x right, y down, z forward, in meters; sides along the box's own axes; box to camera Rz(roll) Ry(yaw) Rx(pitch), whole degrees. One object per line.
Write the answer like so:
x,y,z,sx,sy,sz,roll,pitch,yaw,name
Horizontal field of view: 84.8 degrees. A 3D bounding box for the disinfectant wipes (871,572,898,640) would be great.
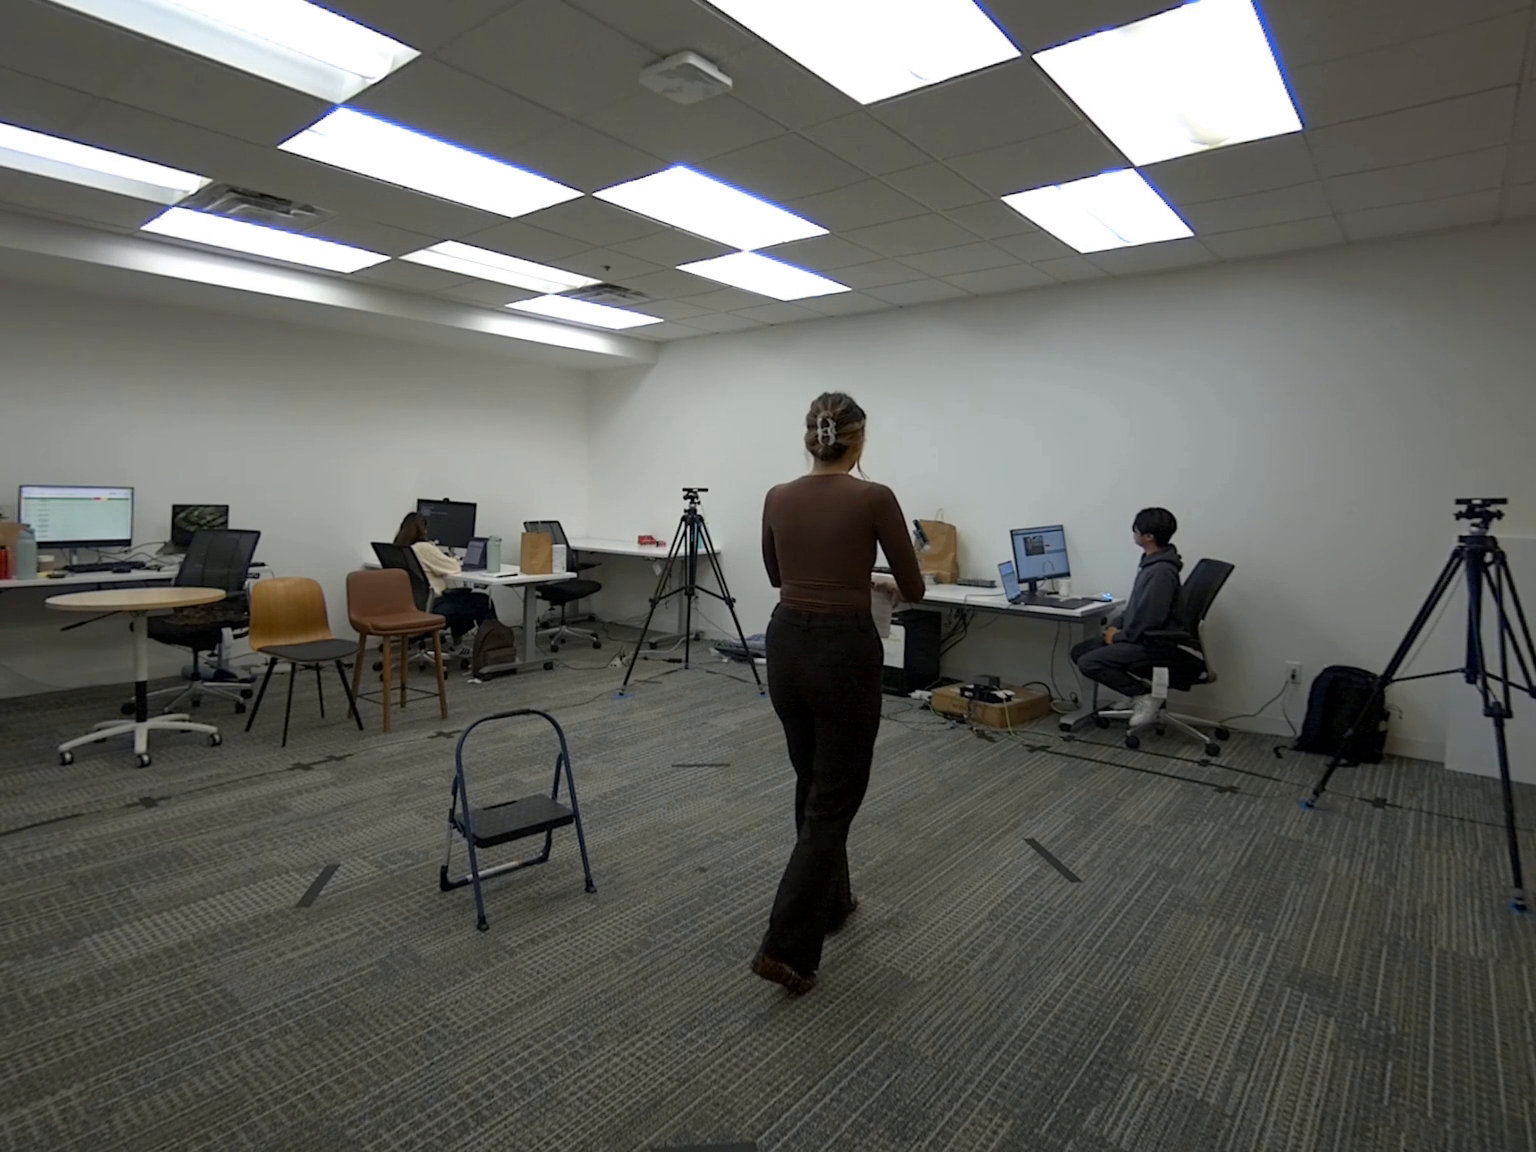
0.370,0.098,2.908,0.118,0.217,0.118,5,0,-2,disinfectant wipes
